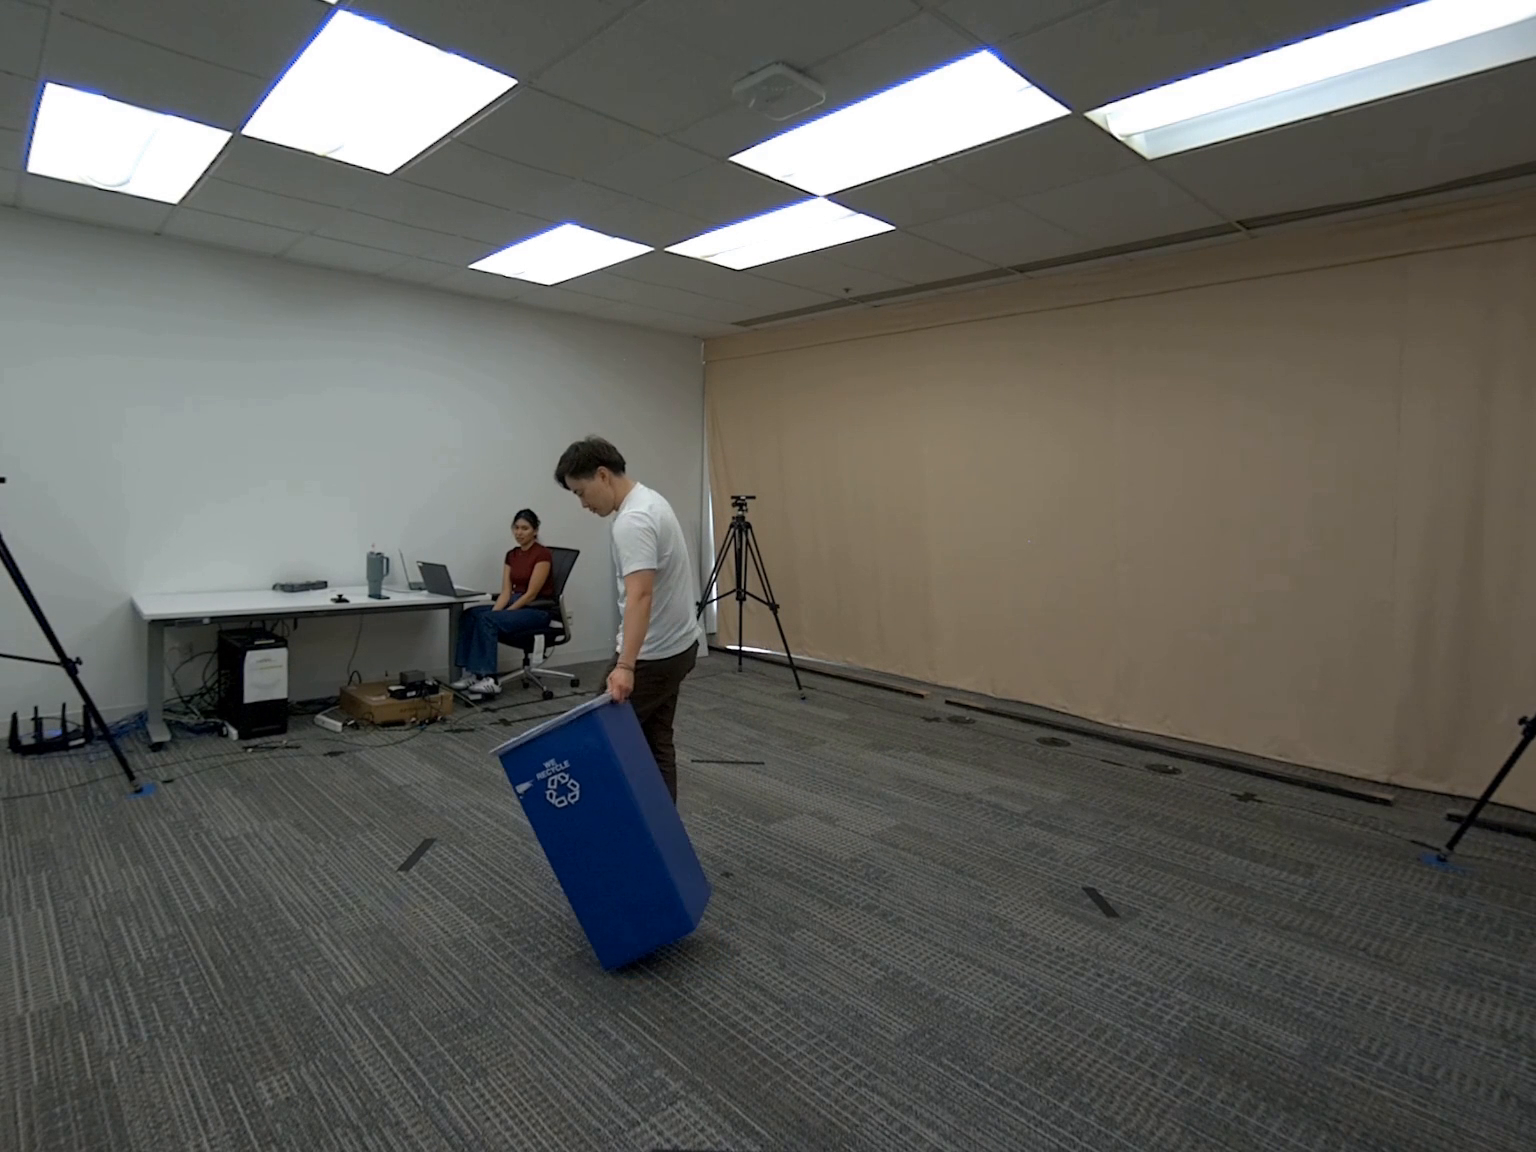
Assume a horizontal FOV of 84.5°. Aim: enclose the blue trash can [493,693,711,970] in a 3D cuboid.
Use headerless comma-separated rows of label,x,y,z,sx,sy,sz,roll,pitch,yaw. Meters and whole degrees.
blue trash can,-0.492,0.758,2.566,0.379,0.718,0.371,-27,-5,6
